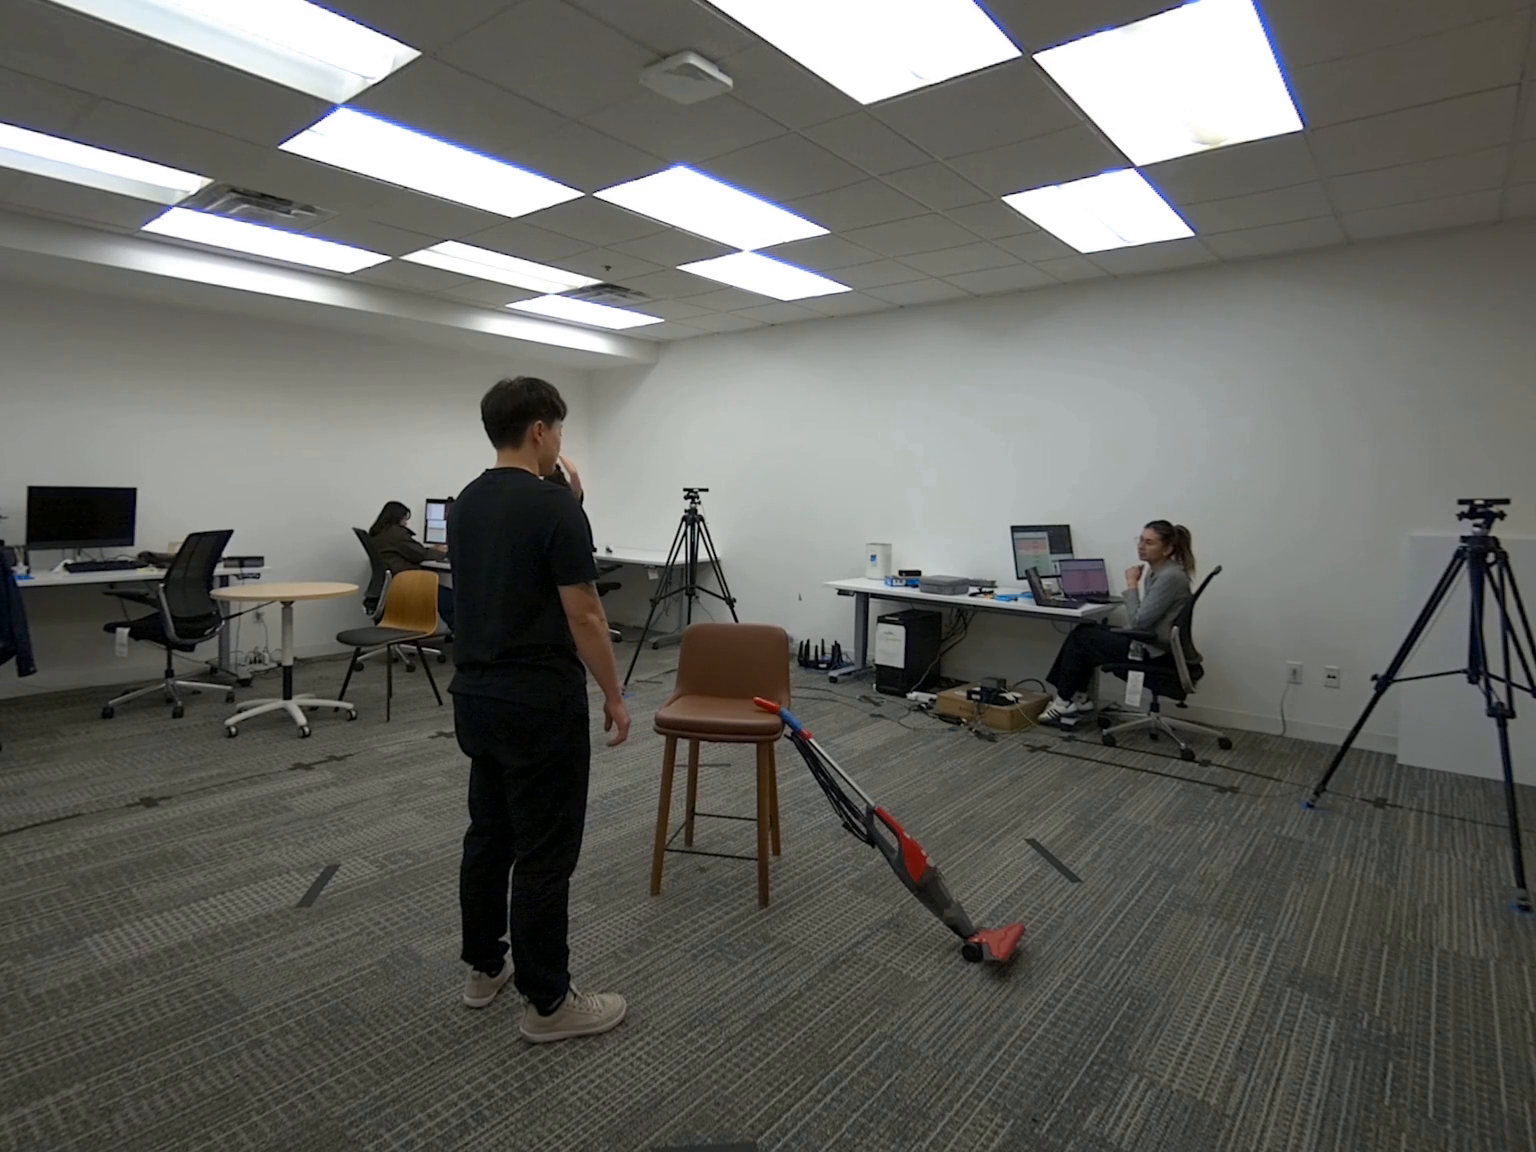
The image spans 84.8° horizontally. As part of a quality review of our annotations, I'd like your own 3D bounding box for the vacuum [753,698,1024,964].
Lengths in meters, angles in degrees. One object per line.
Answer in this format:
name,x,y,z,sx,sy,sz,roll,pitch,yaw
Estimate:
vacuum,0.333,0.787,2.777,1.085,0.143,0.245,43,21,25
